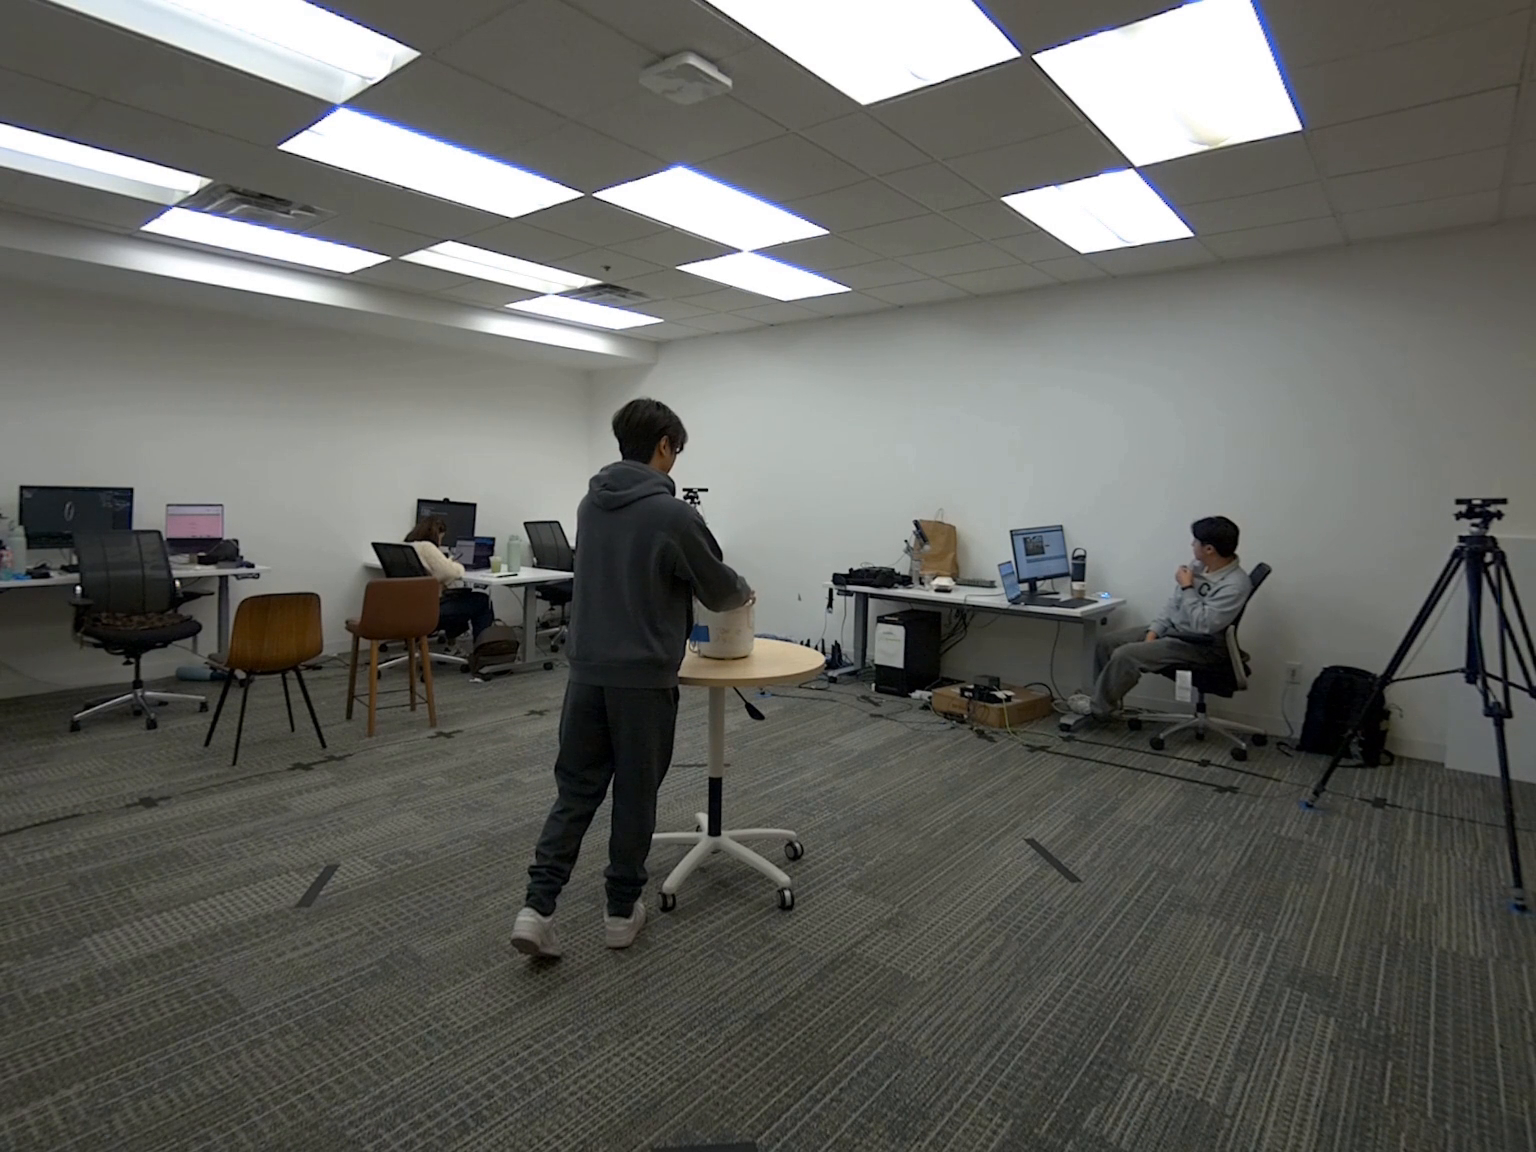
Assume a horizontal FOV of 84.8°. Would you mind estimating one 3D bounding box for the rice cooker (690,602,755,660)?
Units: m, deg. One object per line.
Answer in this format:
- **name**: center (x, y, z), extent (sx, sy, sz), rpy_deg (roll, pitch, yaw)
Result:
- **rice cooker**: center (-0.165, 0.162, 3.038), extent (0.227, 0.231, 0.213), rpy_deg (4, 8, 28)
